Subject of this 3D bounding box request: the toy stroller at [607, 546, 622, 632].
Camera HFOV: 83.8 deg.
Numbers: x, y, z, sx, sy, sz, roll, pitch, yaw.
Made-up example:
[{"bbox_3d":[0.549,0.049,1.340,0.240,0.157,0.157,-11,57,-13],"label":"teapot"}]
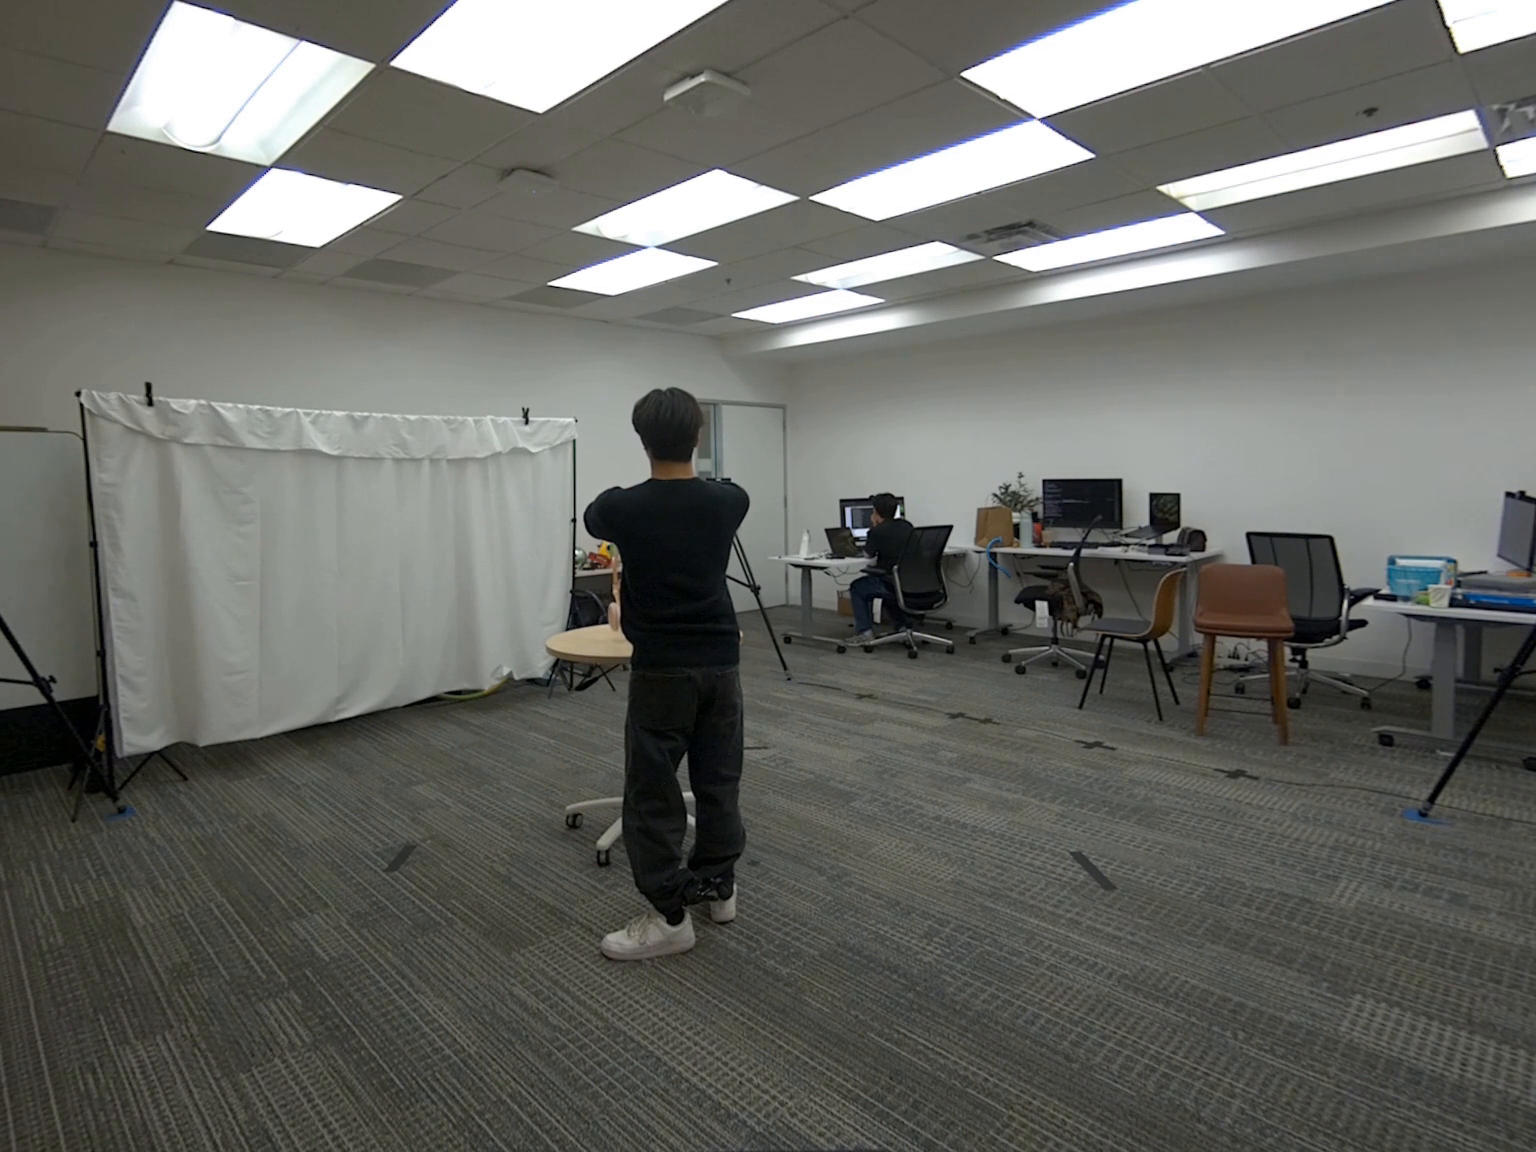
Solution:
[{"bbox_3d":[-0.484,-0.032,3.341,0.278,0.527,0.351,-2,19,-13],"label":"toy stroller"}]
